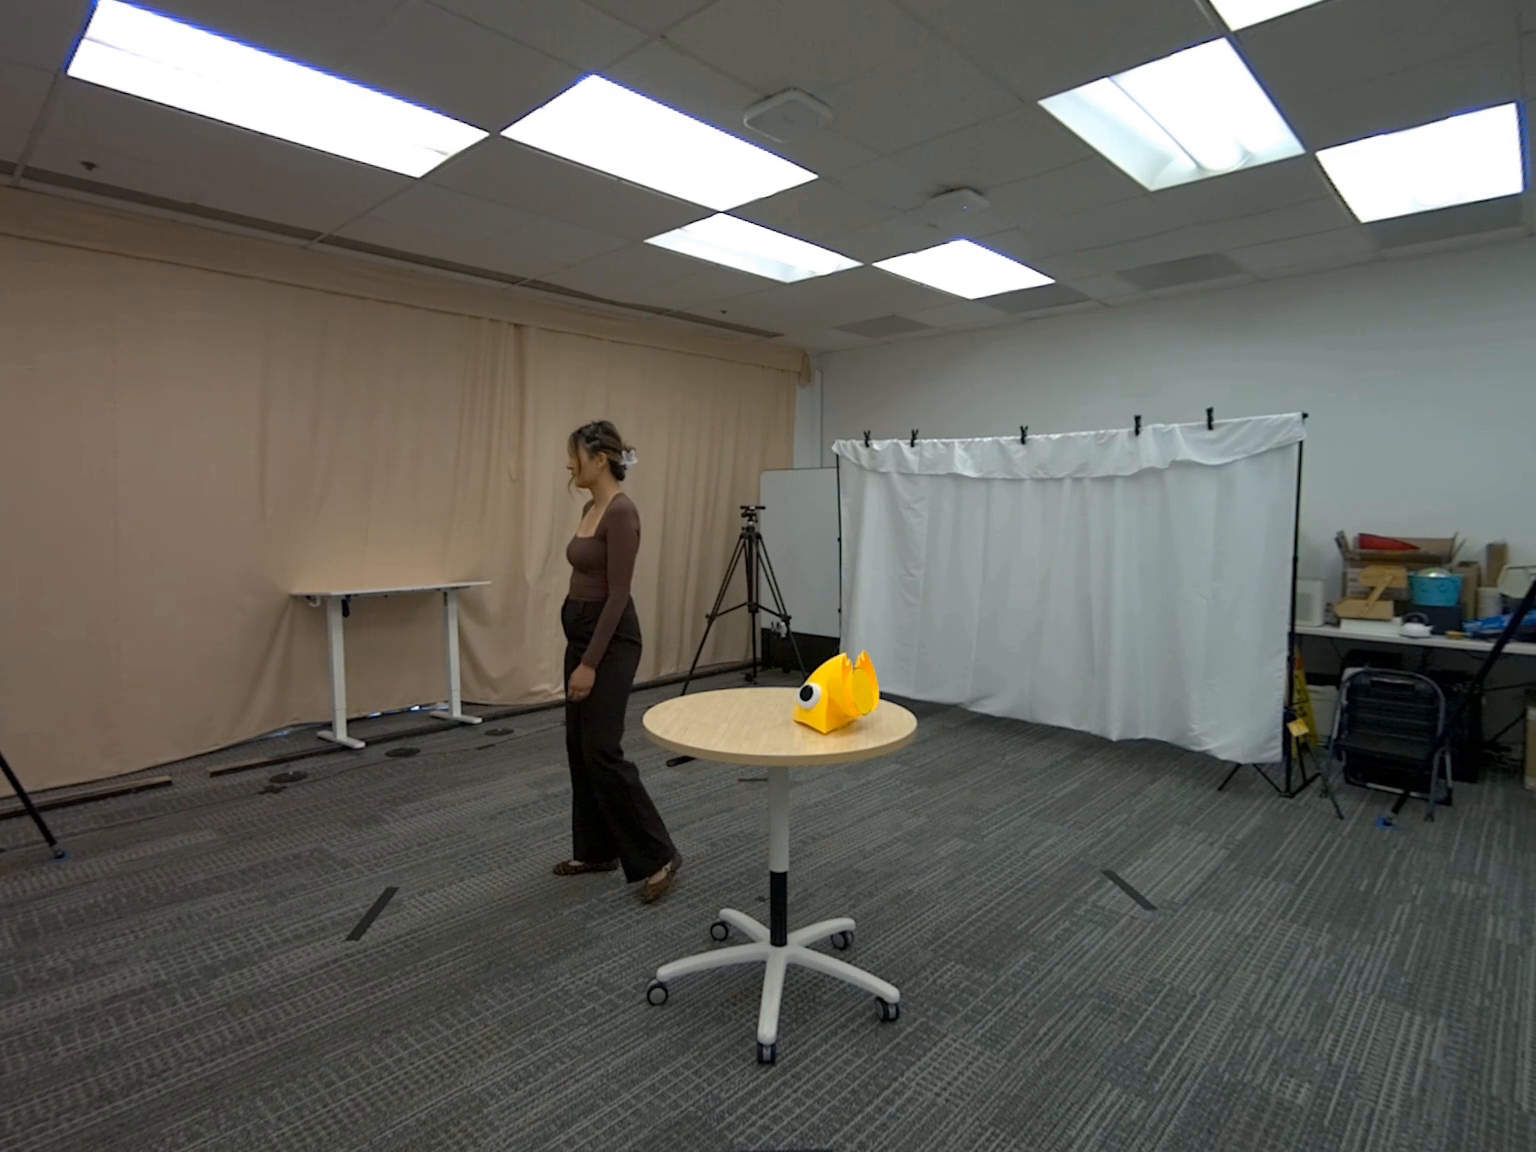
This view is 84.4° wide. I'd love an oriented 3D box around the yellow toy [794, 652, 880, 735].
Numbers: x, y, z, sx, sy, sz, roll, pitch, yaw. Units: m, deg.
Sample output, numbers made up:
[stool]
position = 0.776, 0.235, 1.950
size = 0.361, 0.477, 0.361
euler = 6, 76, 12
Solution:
[yellow toy]
position = 0.156, 0.320, 2.275
size = 0.236, 0.194, 0.199
euler = -14, -5, 32
